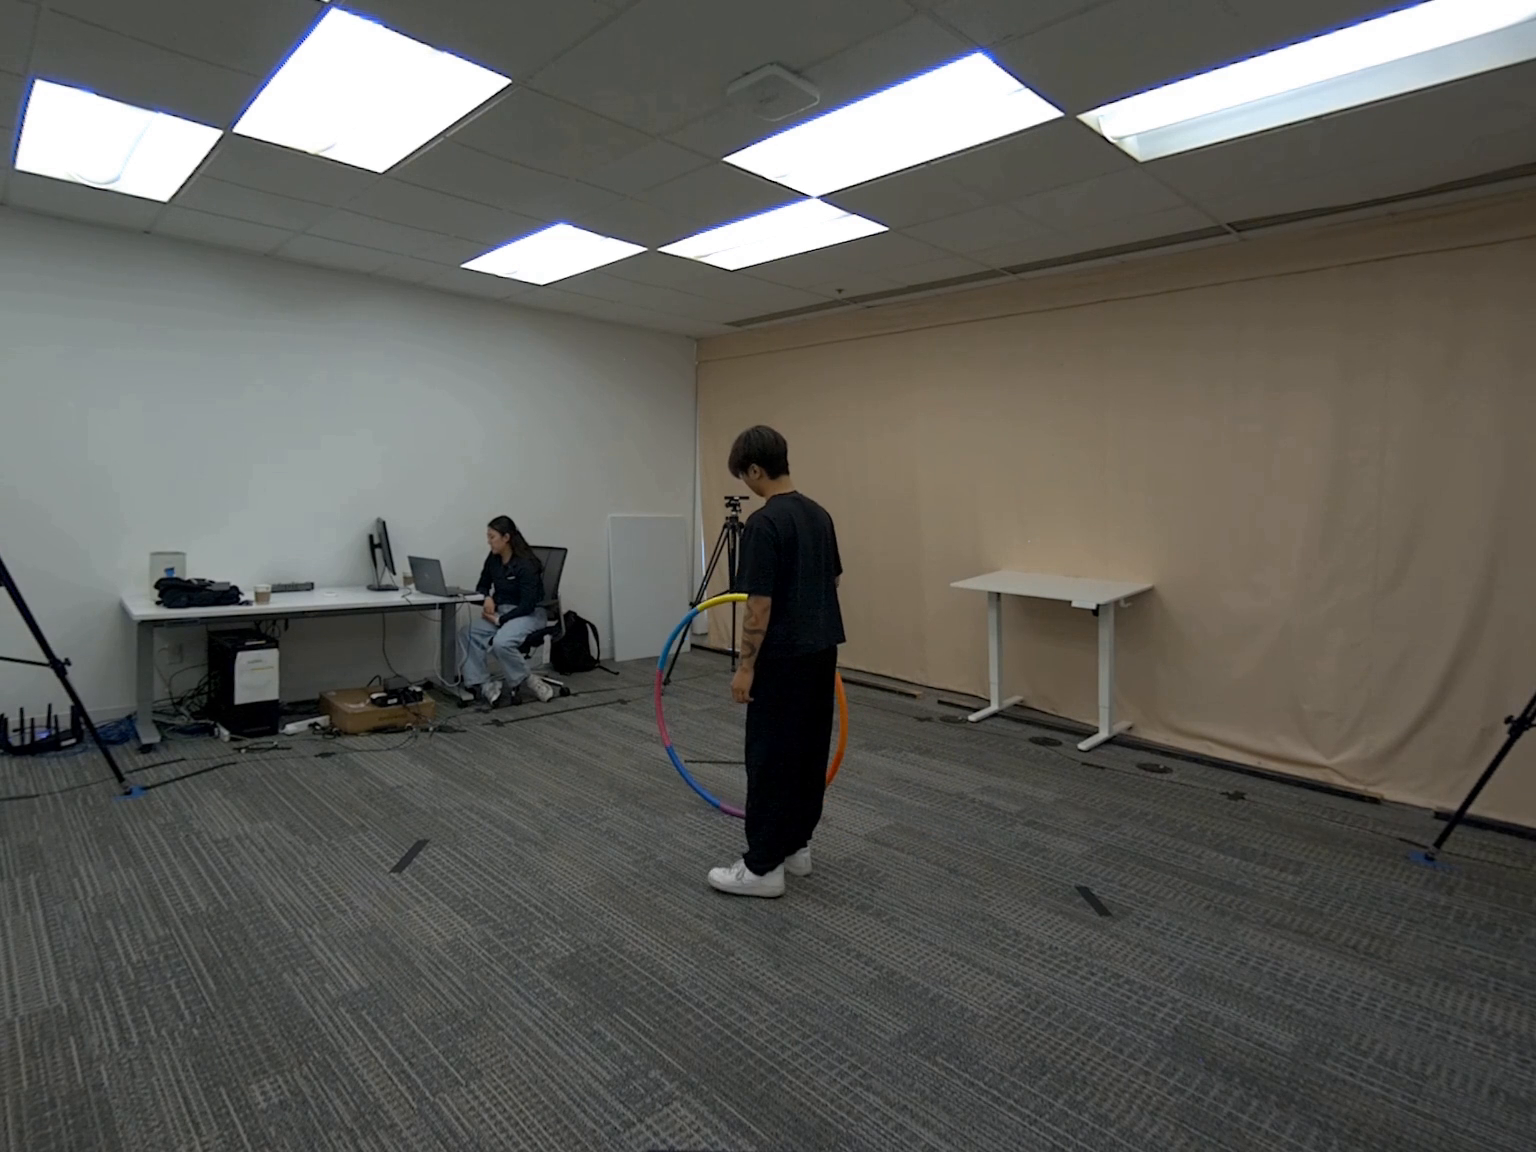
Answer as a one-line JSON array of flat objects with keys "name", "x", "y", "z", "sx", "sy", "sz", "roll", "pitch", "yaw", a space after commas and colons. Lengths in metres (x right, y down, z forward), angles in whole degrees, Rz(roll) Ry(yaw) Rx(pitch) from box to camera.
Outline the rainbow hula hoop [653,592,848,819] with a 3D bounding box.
[{"name": "rainbow hula hoop", "x": -0.115, "y": 0.573, "z": 3.661, "sx": 1.002, "sy": 0.977, "sz": 0.035, "roll": 4, "pitch": 3, "yaw": 34}]
